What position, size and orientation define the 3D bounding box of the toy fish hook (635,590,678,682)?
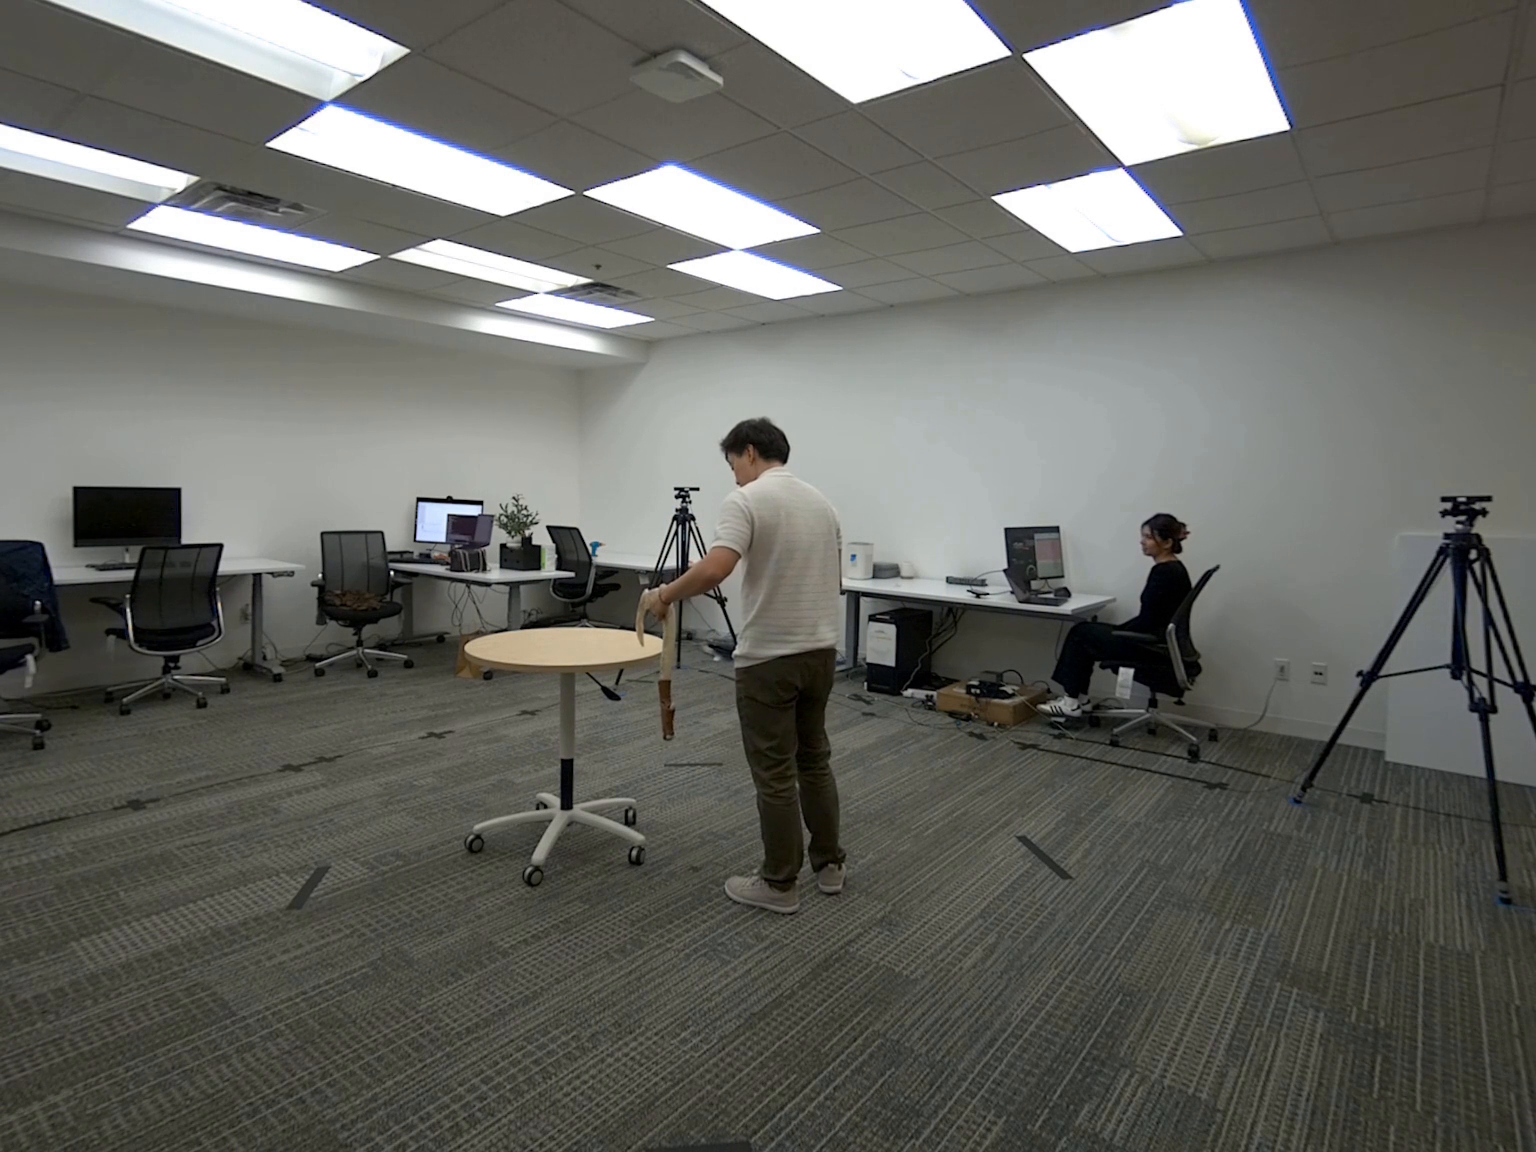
[{"bbox_3d":[-0.383,0.297,2.904,0.047,0.510,0.230,0,-7,-35],"label":"toy fish hook"}]
